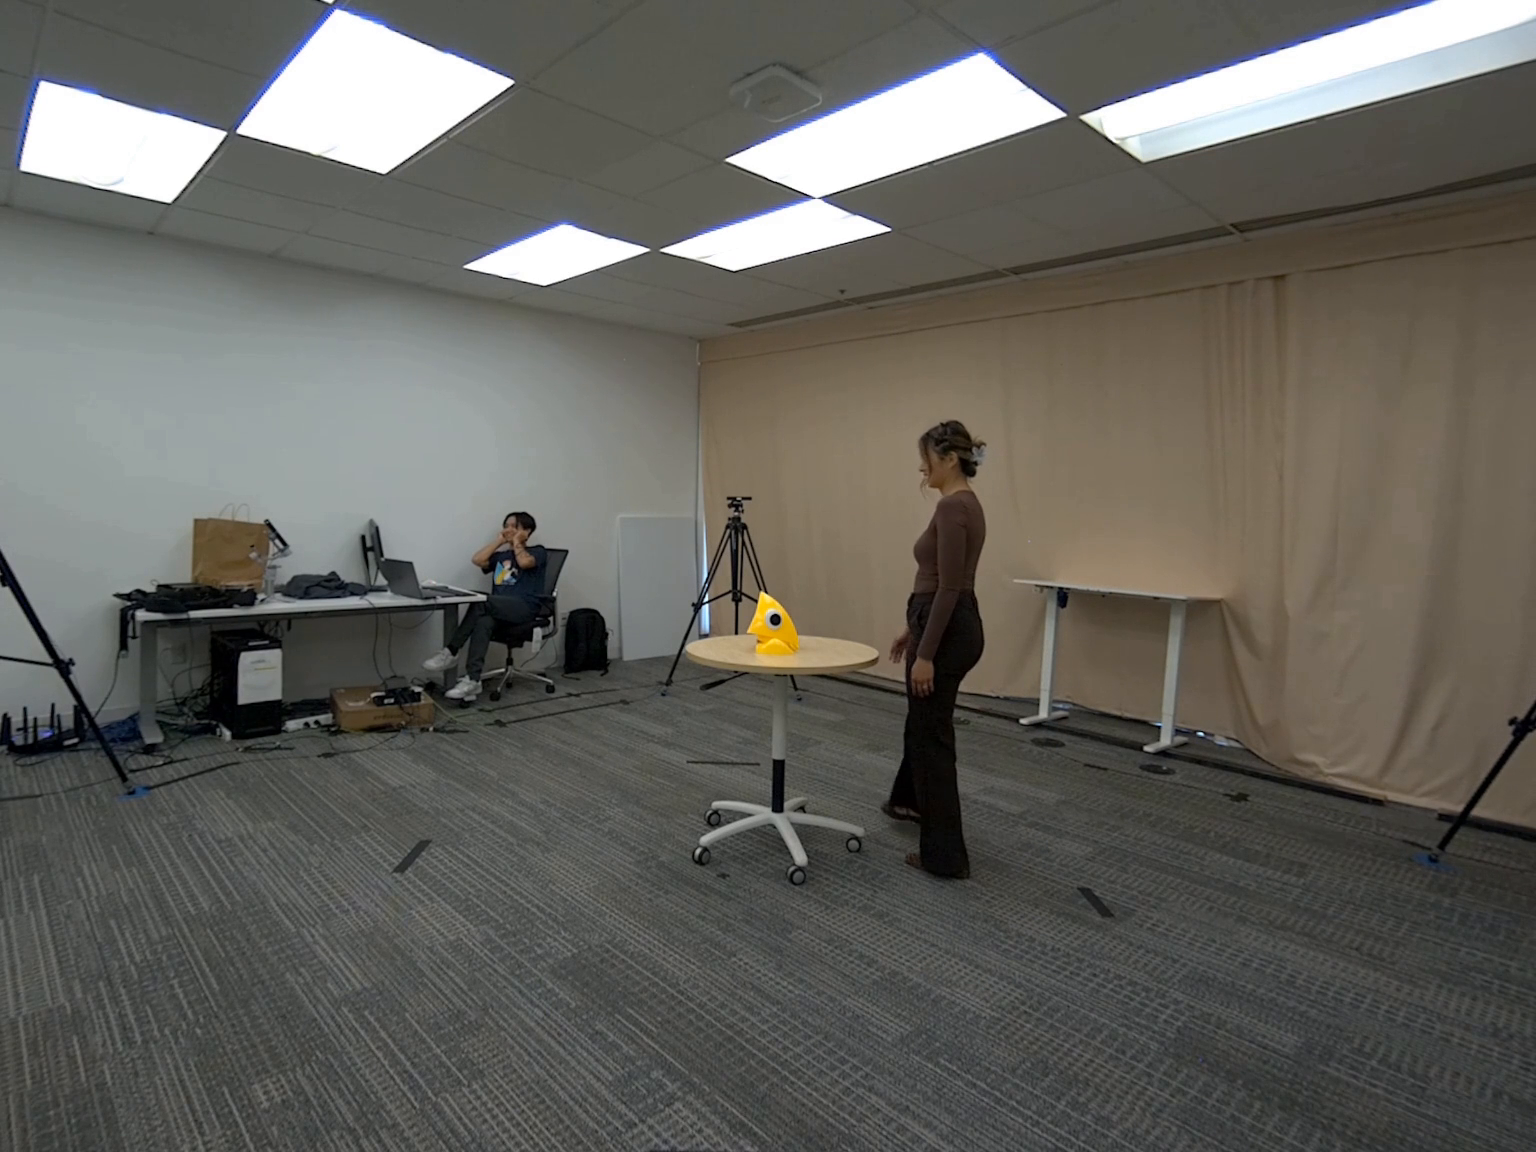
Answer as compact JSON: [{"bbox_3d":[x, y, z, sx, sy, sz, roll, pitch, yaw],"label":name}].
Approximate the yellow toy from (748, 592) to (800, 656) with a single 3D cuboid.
[{"bbox_3d":[0.024,0.176,3.323,0.195,0.230,0.203,1,4,12],"label":"yellow toy"}]
